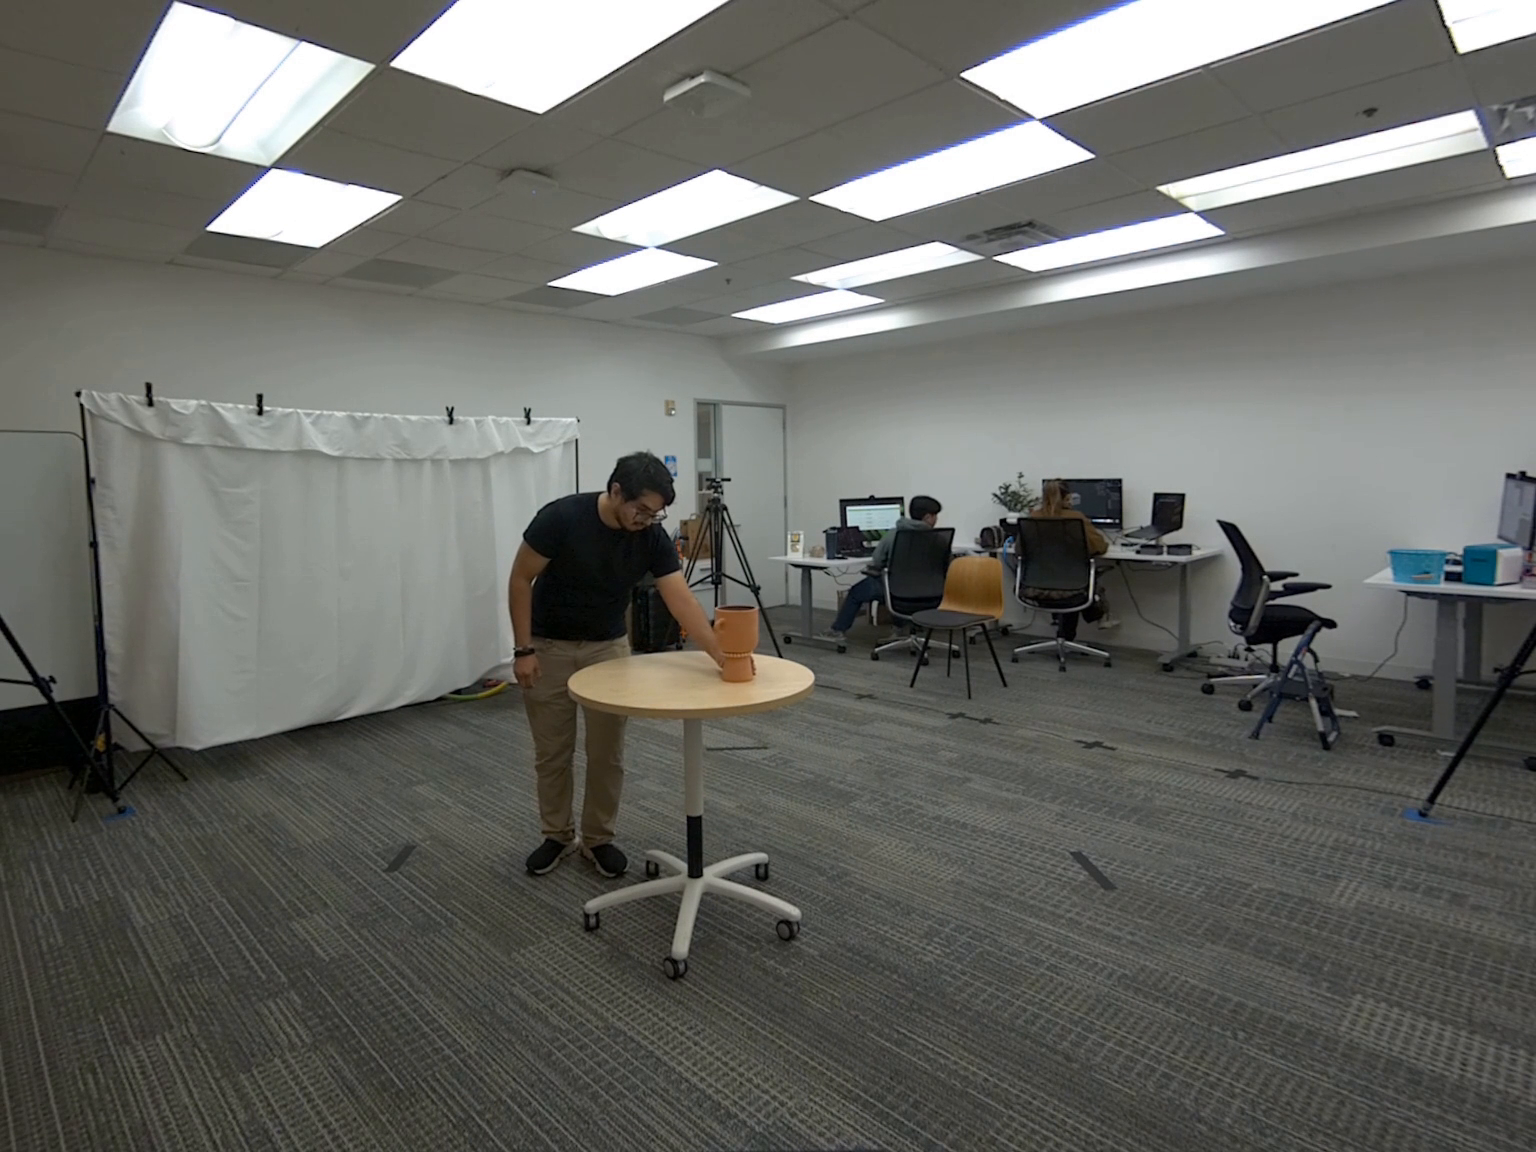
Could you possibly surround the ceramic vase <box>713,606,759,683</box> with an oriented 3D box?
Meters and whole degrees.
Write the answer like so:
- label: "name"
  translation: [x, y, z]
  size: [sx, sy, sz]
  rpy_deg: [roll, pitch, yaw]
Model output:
- label: "ceramic vase"
  translation: [-0.084, 0.205, 2.617]
  size: [0.157, 0.219, 0.136]
  rpy_deg: [-2, 5, -11]
